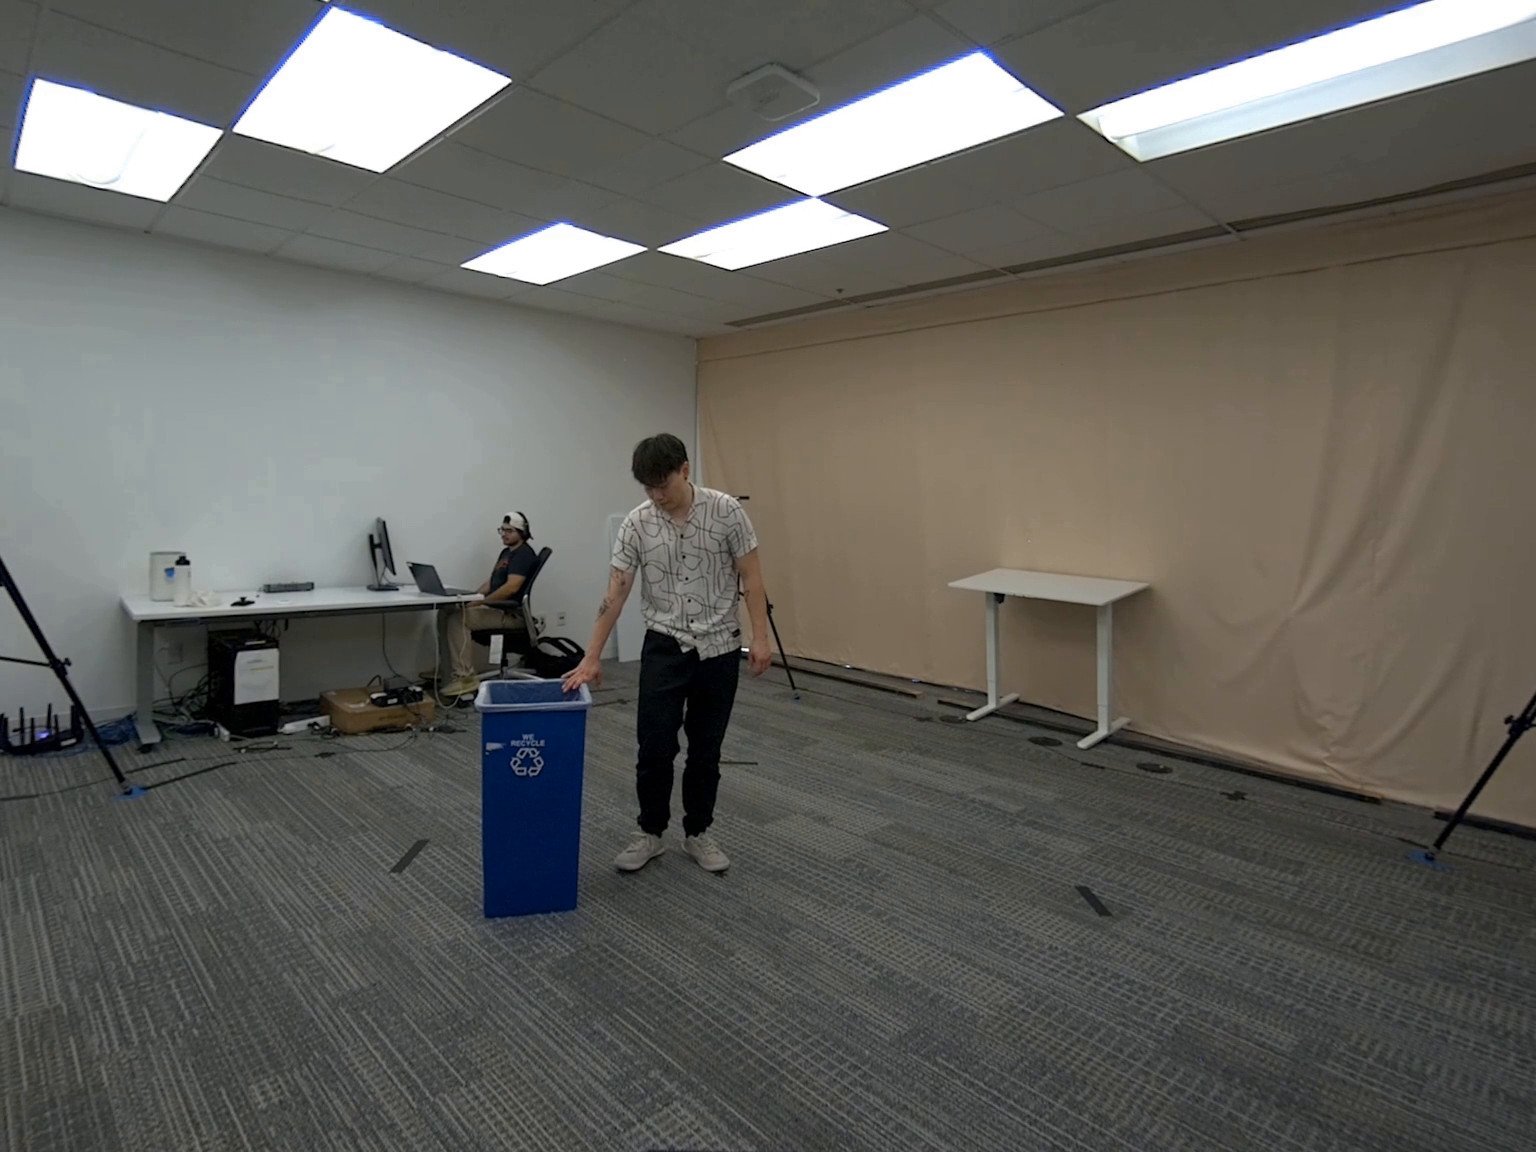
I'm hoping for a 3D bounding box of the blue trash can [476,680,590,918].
[{"bbox_3d":[-0.816,0.751,2.906,0.369,0.712,0.384,1,4,-17],"label":"blue trash can"}]
